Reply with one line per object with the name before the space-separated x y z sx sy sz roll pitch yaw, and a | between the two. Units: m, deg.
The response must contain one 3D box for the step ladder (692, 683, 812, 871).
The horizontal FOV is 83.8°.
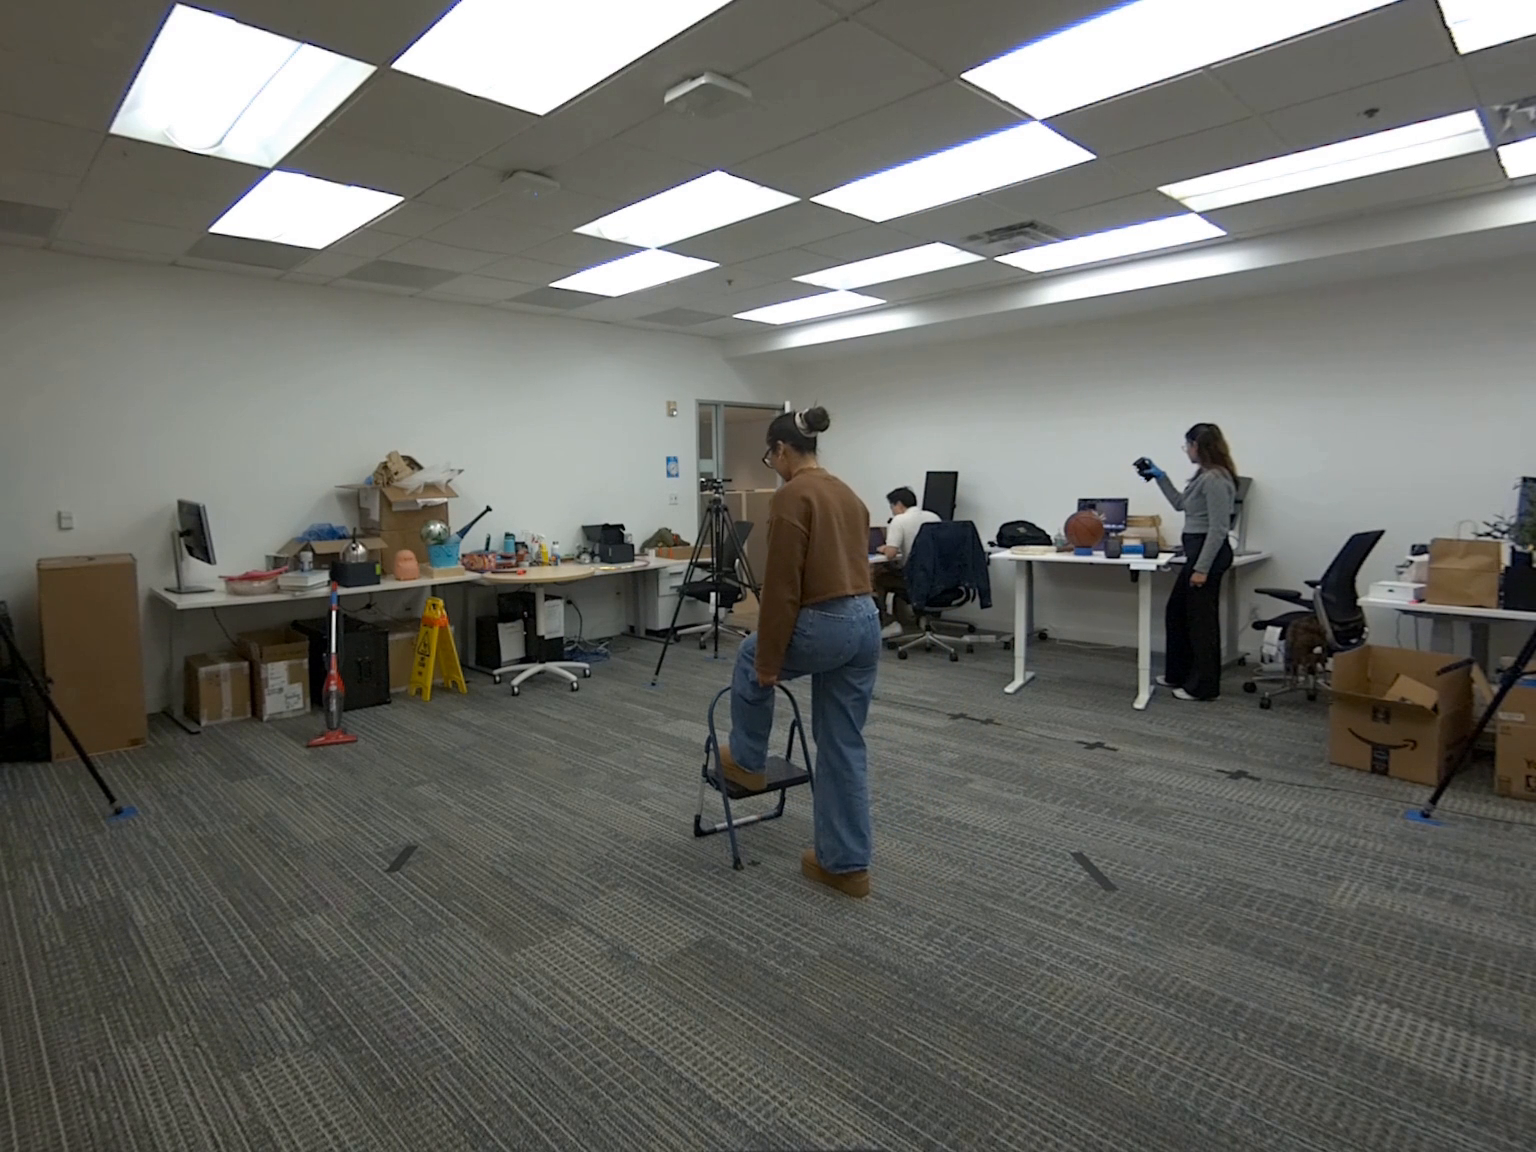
step ladder | -0.032 0.718 3.292 0.420 0.604 0.359 -4 5 -33
